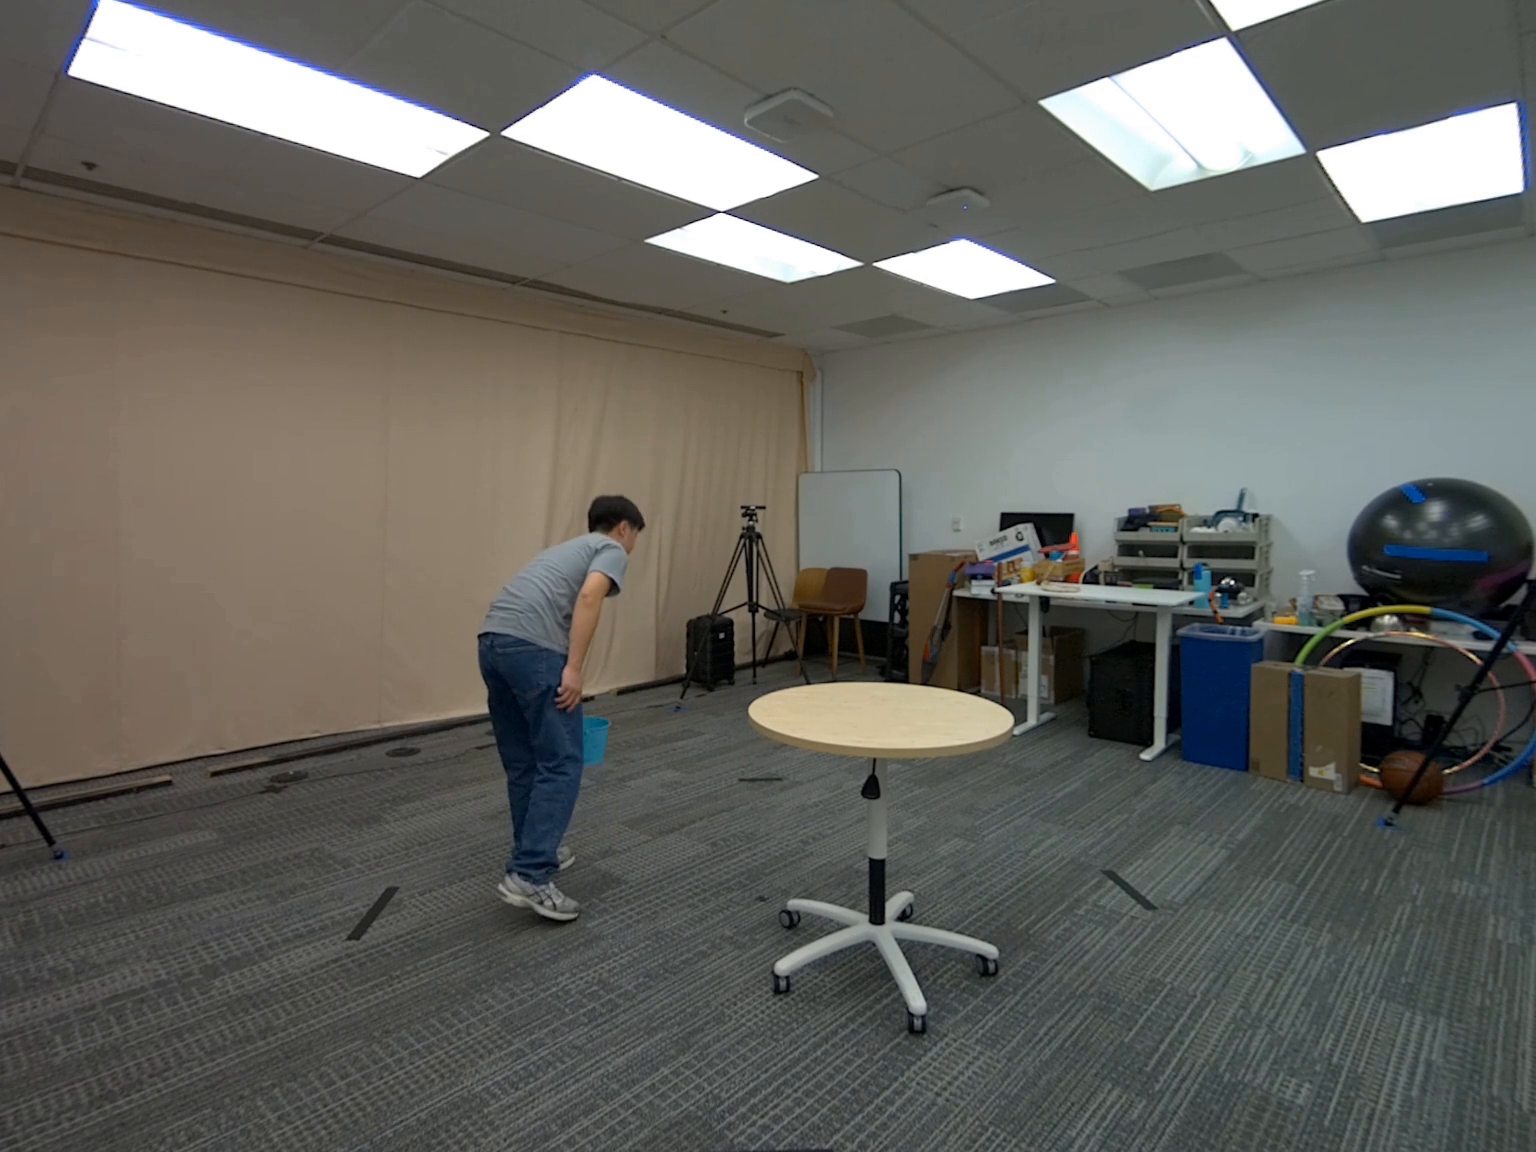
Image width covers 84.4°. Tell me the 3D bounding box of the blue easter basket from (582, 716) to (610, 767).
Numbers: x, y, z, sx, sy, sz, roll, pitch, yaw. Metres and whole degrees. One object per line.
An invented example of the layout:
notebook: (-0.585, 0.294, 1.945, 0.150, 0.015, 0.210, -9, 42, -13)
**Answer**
blue easter basket: (-0.776, 0.692, 3.496, 0.243, 0.155, 0.244, 1, 4, -2)
